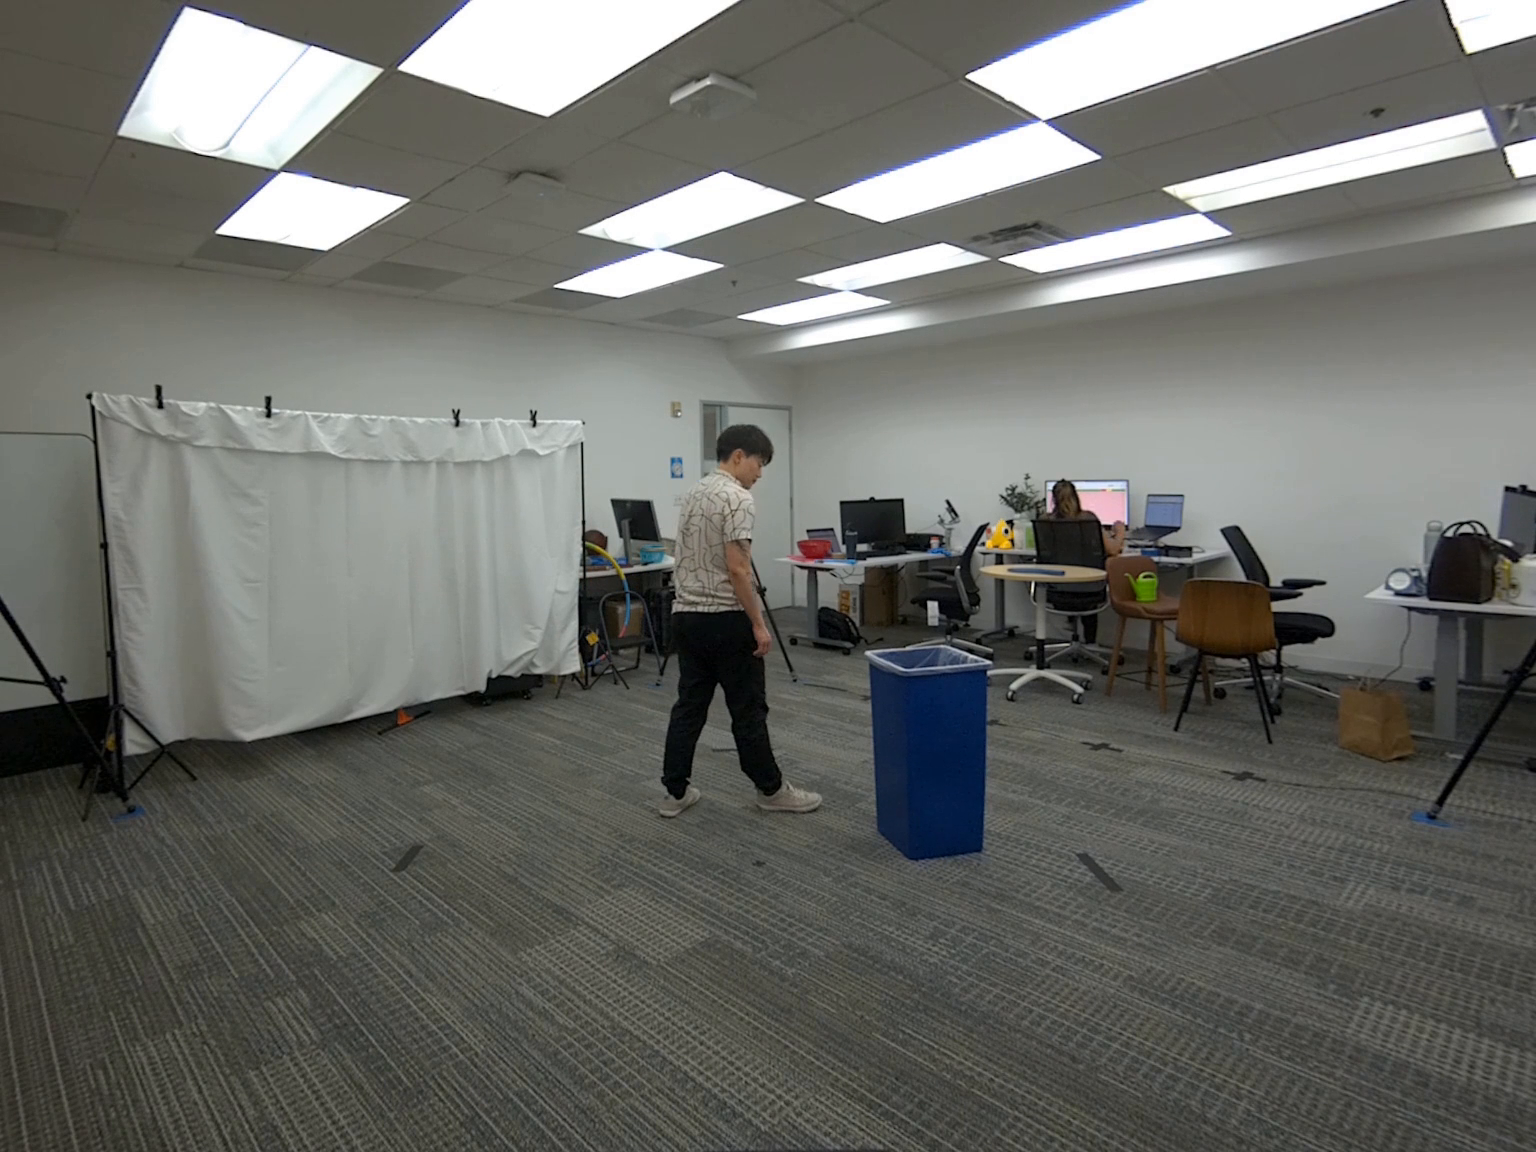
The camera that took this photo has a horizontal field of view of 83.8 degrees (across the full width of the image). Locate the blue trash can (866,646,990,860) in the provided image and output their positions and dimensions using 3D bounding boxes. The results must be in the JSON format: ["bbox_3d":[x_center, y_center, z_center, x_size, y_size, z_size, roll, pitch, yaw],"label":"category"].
[{"bbox_3d":[0.609,0.662,3.261,0.369,0.711,0.385,-2,4,-16],"label":"blue trash can"}]
